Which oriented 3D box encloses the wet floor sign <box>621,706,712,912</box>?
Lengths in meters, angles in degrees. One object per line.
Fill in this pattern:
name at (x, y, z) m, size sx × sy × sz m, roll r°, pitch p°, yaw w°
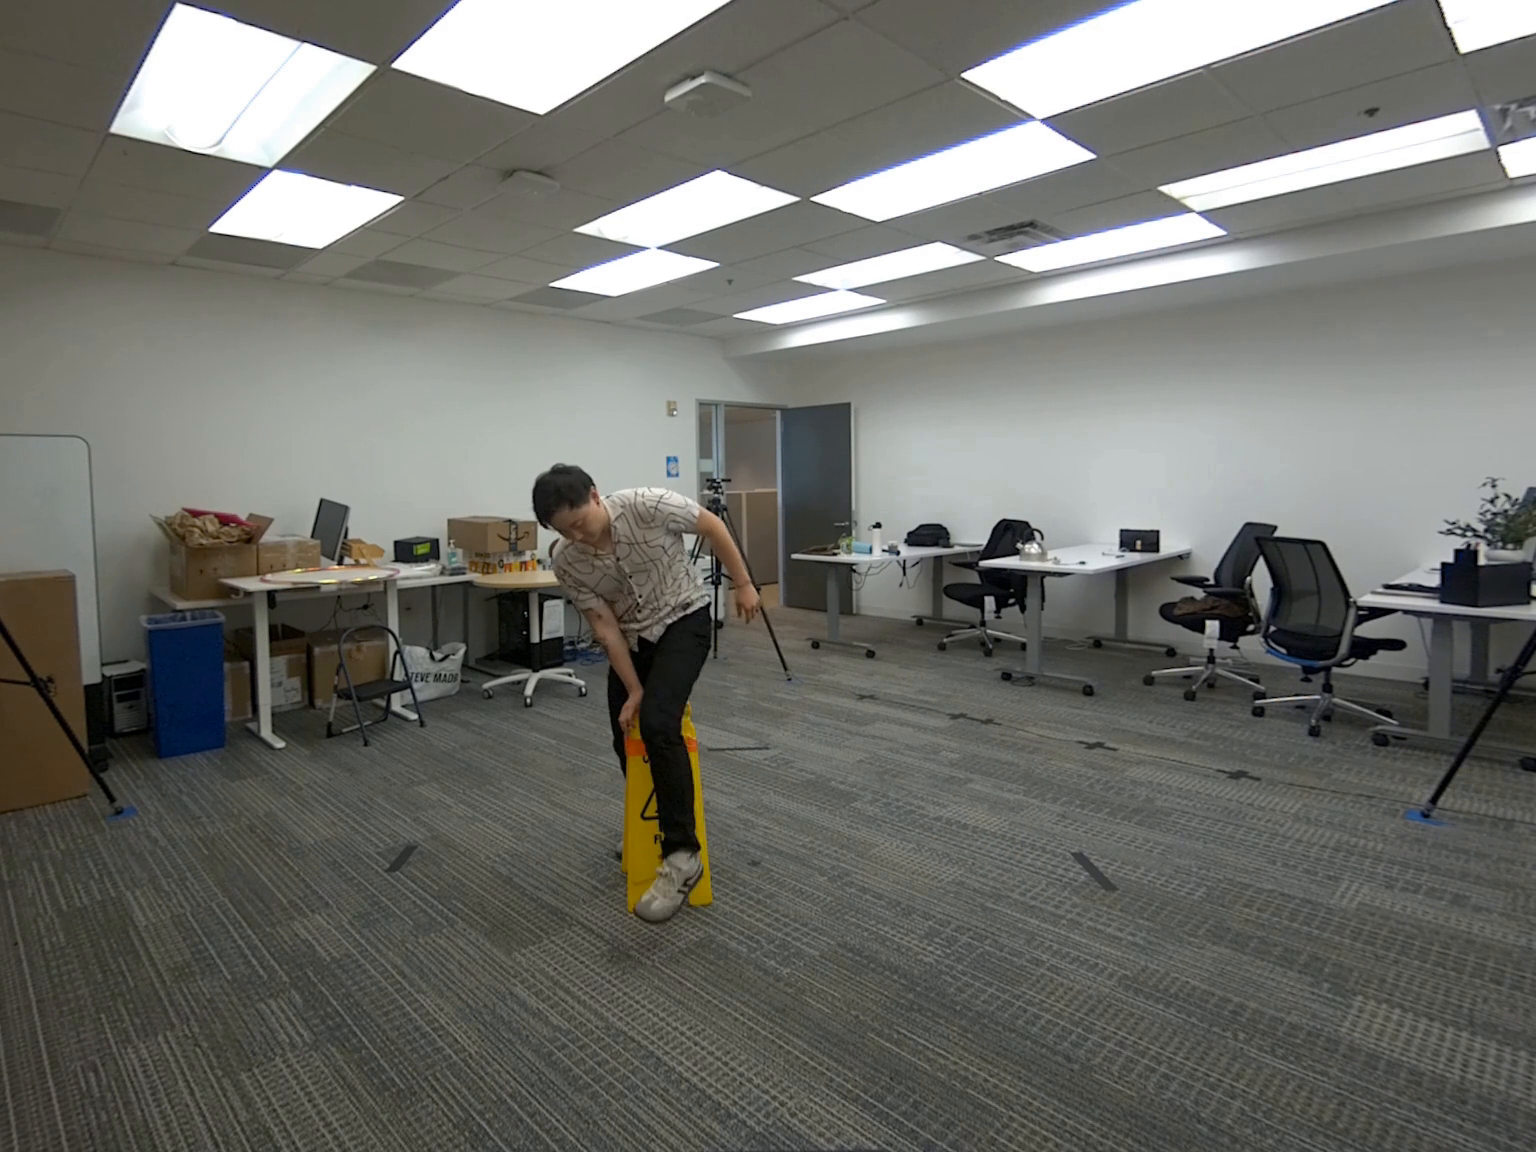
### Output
wet floor sign at (-0.353, 0.745, 2.915) m, size 0.279 × 0.644 × 0.294 m, roll -2°, pitch 4°, yaw -11°
